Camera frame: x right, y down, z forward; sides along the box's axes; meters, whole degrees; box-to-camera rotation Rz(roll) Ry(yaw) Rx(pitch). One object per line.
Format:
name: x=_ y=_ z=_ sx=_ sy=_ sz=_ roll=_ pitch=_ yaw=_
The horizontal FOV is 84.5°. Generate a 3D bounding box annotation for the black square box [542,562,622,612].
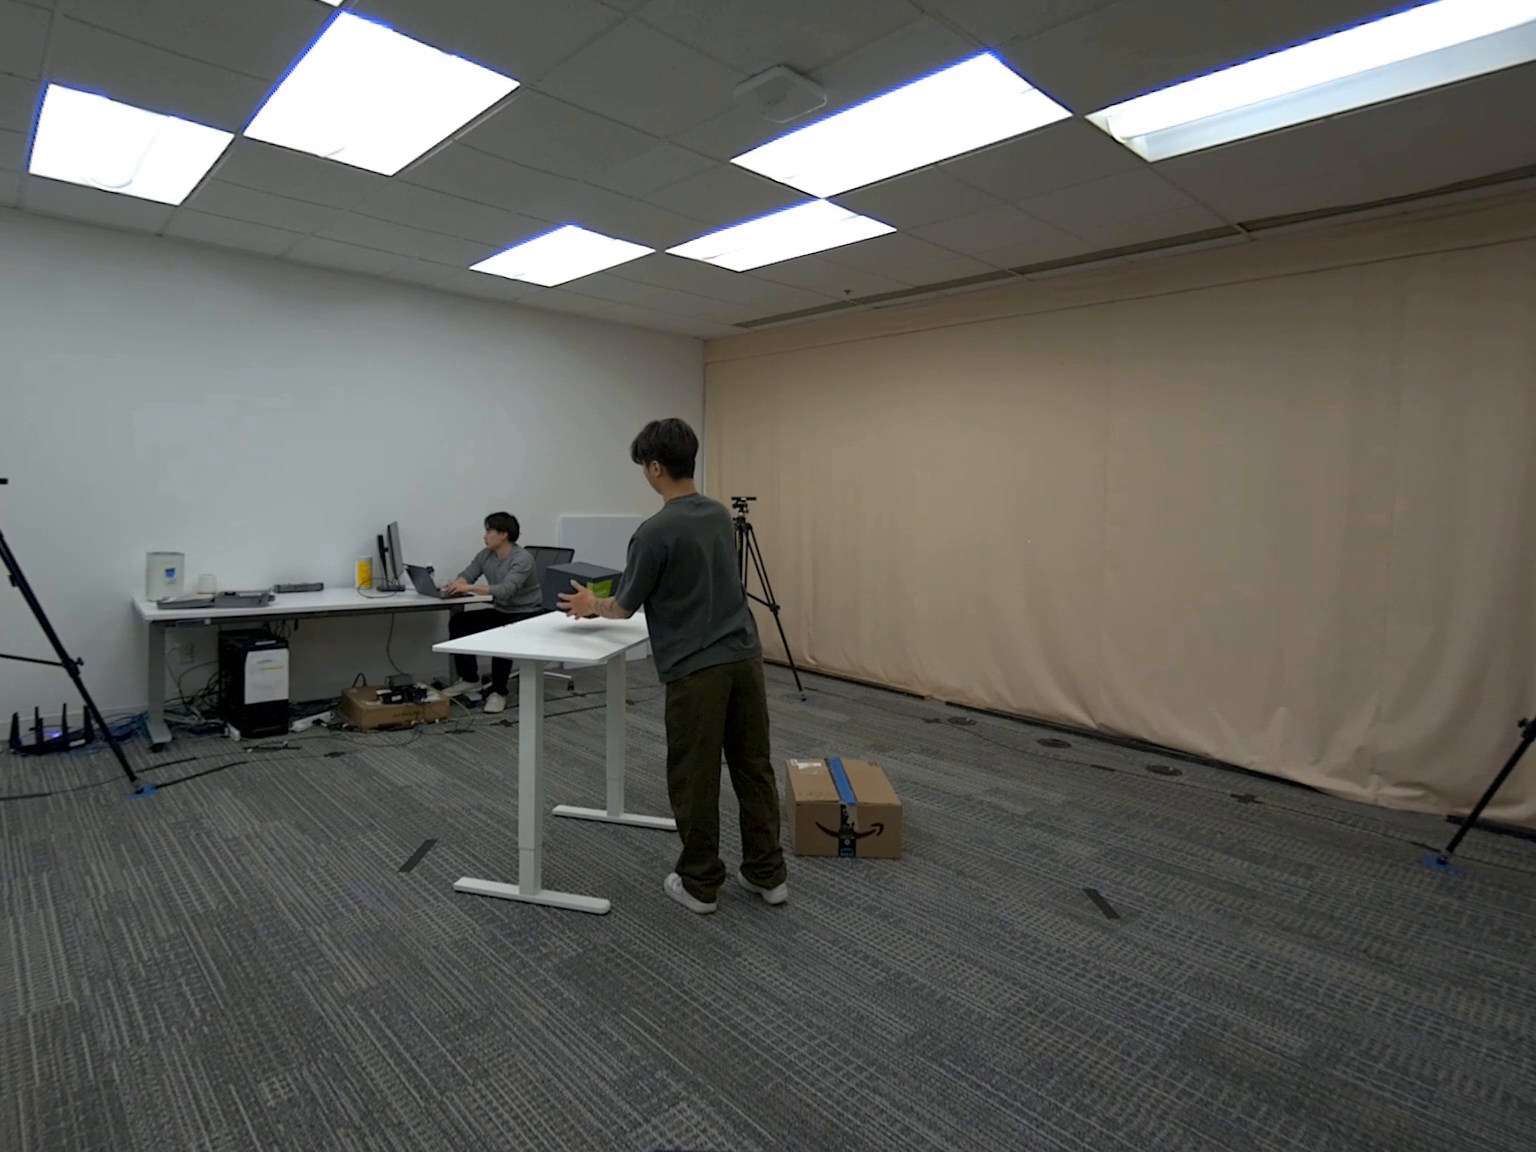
black square box: x=-0.698 y=0.048 z=3.189 sx=0.221 sy=0.155 sz=0.225 roll=11 pitch=8 yaw=20
